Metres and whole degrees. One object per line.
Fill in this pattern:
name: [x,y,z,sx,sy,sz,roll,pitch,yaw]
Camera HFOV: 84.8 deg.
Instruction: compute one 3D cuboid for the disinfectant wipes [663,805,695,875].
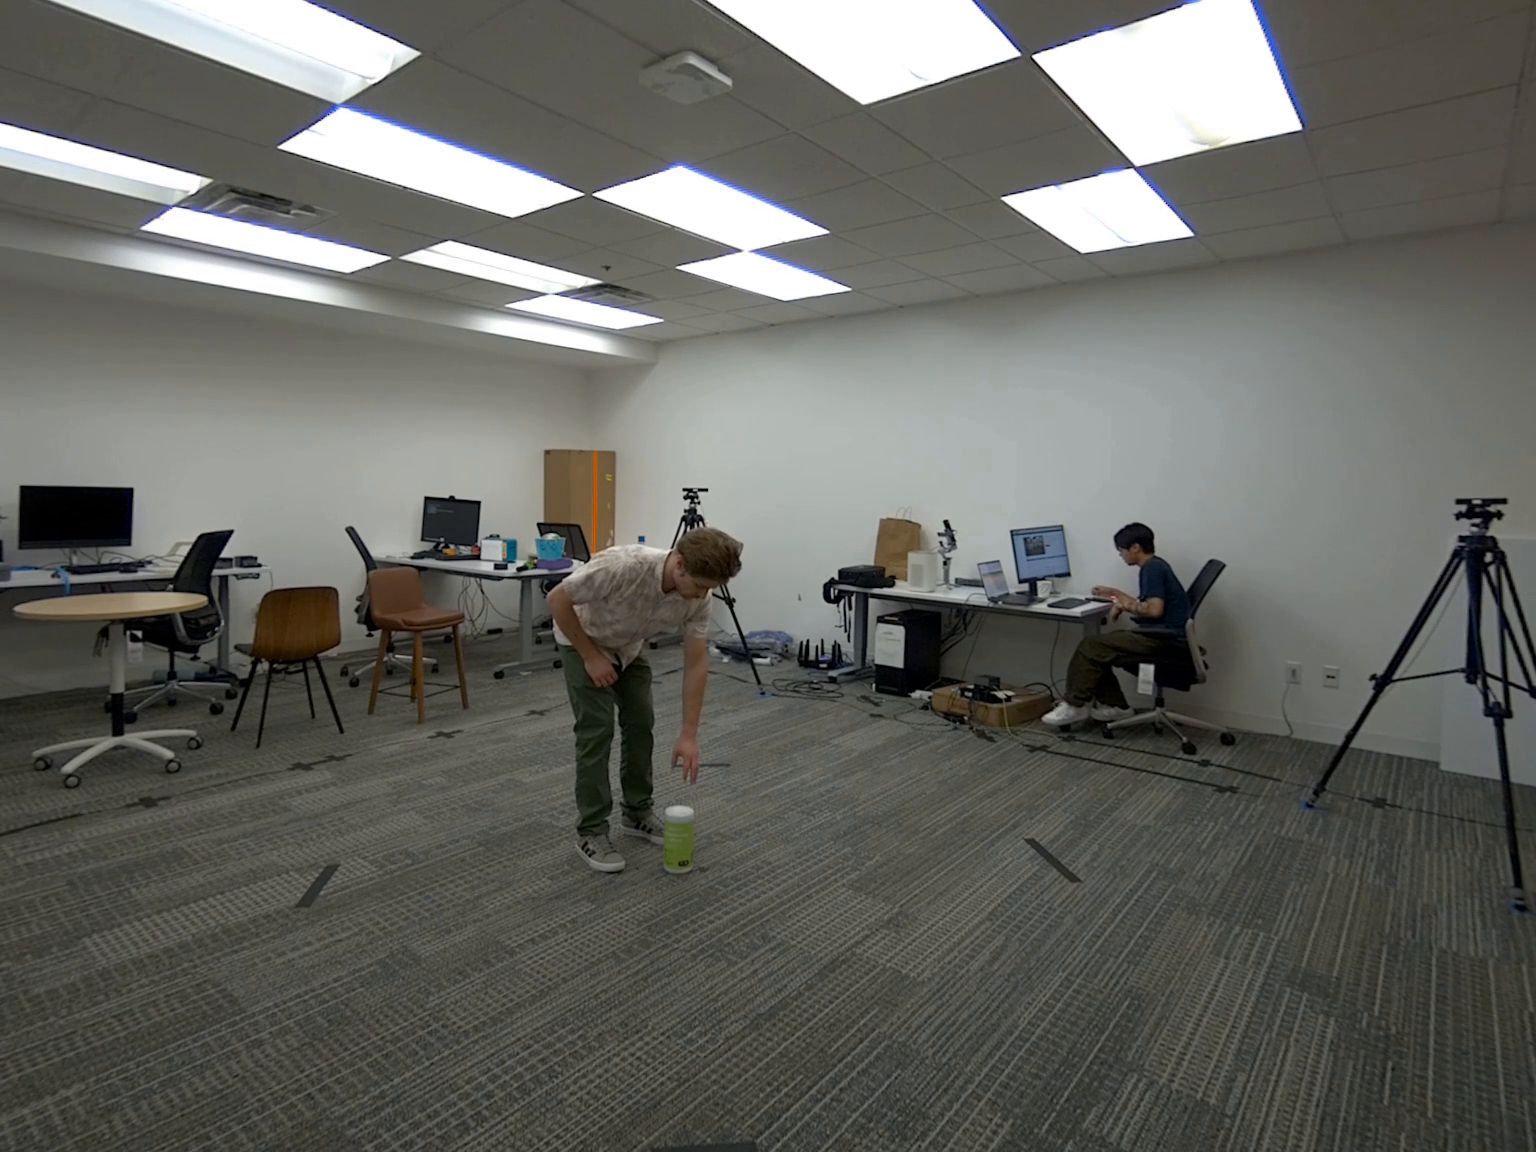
disinfectant wipes: [-0.337,0.963,3.111,0.118,0.217,0.118,1,2,-2]
